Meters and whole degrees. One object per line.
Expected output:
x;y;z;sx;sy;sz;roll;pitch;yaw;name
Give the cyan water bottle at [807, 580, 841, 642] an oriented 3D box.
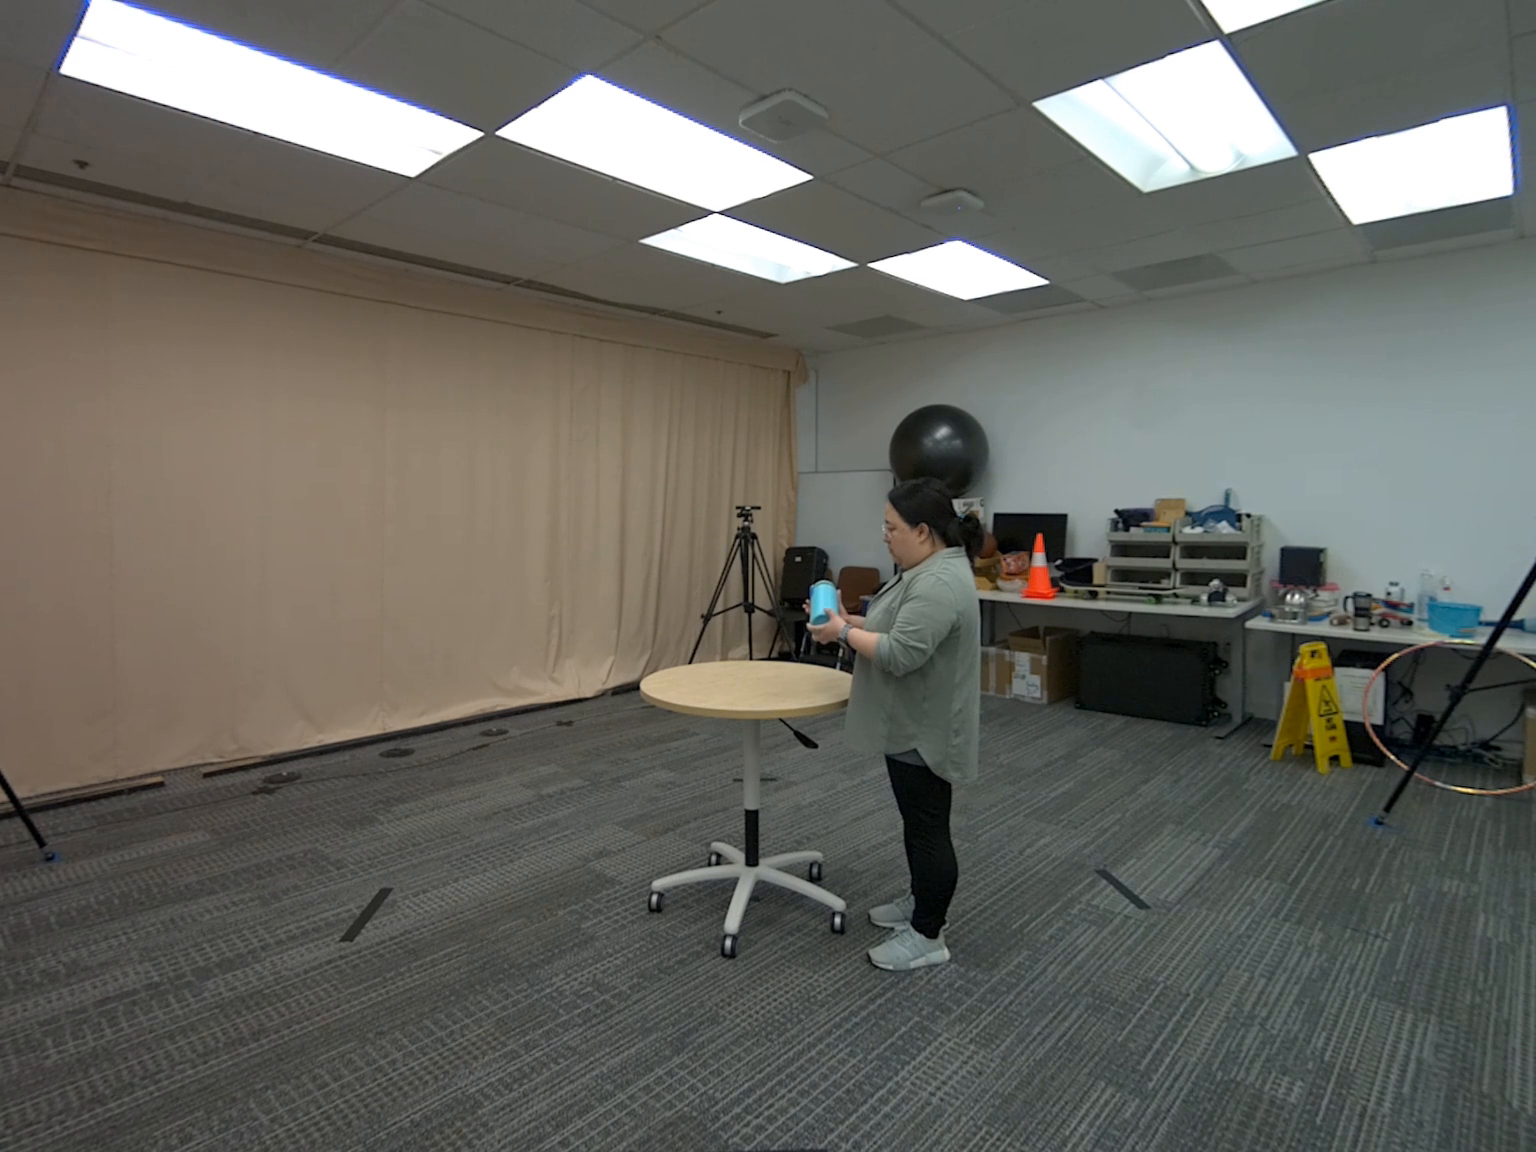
0.189;0.092;2.721;0.092;0.091;0.286;0;23;1;cyan water bottle
